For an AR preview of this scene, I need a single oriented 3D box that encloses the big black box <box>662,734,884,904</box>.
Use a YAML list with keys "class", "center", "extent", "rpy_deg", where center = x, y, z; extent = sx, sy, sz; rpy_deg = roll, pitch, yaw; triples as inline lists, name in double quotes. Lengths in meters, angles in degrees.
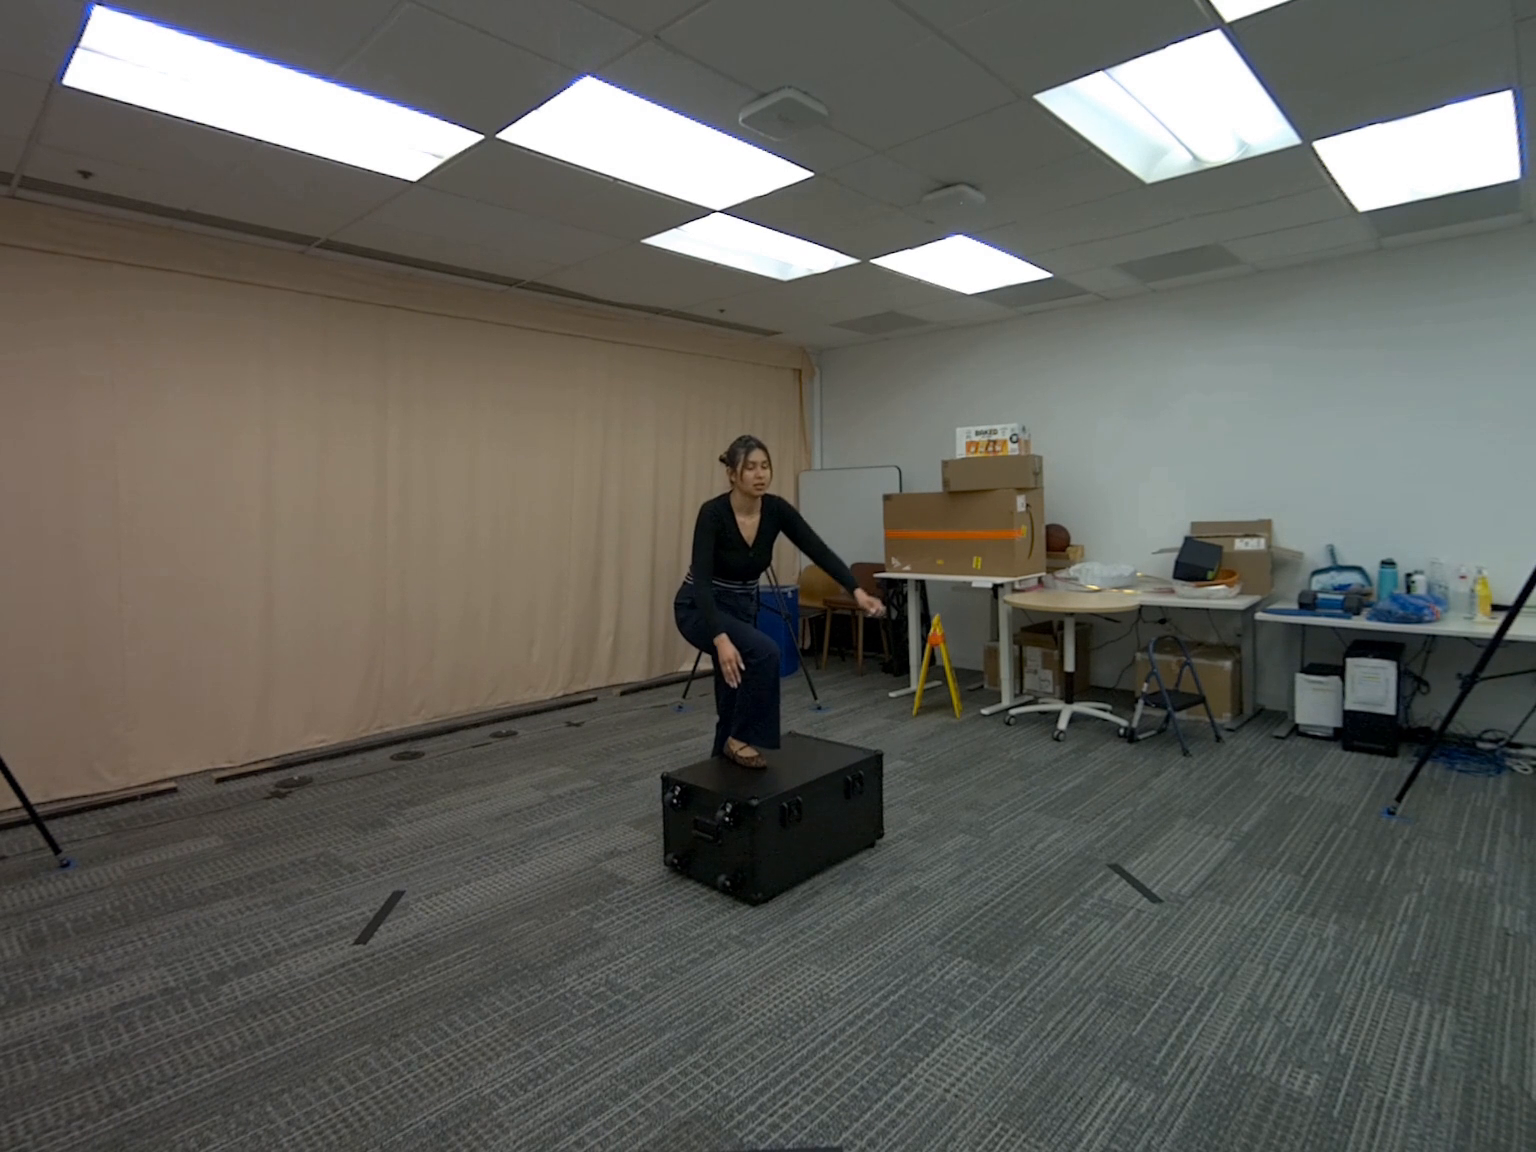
- class: "big black box"
  center: [0.059, 0.918, 3.334]
  extent: [0.538, 0.395, 0.836]
  rpy_deg: [3, 7, 43]
